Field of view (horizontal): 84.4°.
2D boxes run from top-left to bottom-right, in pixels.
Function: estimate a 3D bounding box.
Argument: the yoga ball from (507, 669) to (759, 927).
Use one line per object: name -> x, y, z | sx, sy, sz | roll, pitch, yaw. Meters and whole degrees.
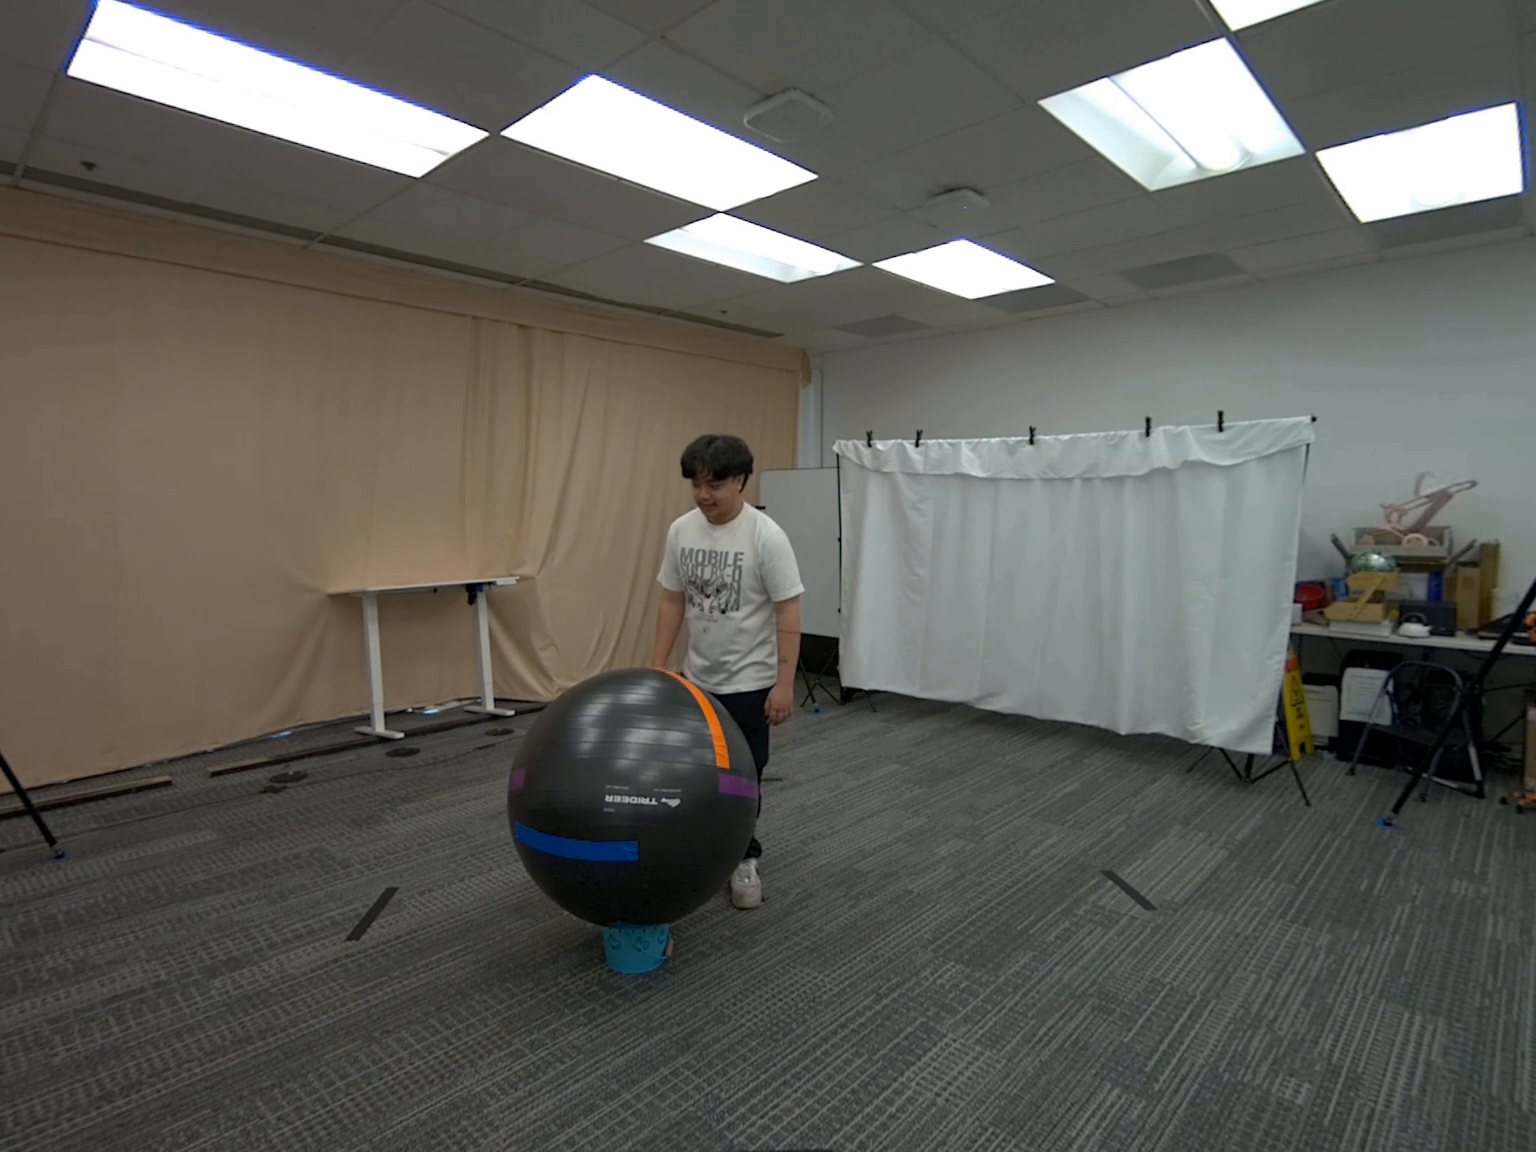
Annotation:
yoga ball -> -0.414, 0.668, 2.582 | 0.757, 0.756, 0.761 | 0, 4, -2
